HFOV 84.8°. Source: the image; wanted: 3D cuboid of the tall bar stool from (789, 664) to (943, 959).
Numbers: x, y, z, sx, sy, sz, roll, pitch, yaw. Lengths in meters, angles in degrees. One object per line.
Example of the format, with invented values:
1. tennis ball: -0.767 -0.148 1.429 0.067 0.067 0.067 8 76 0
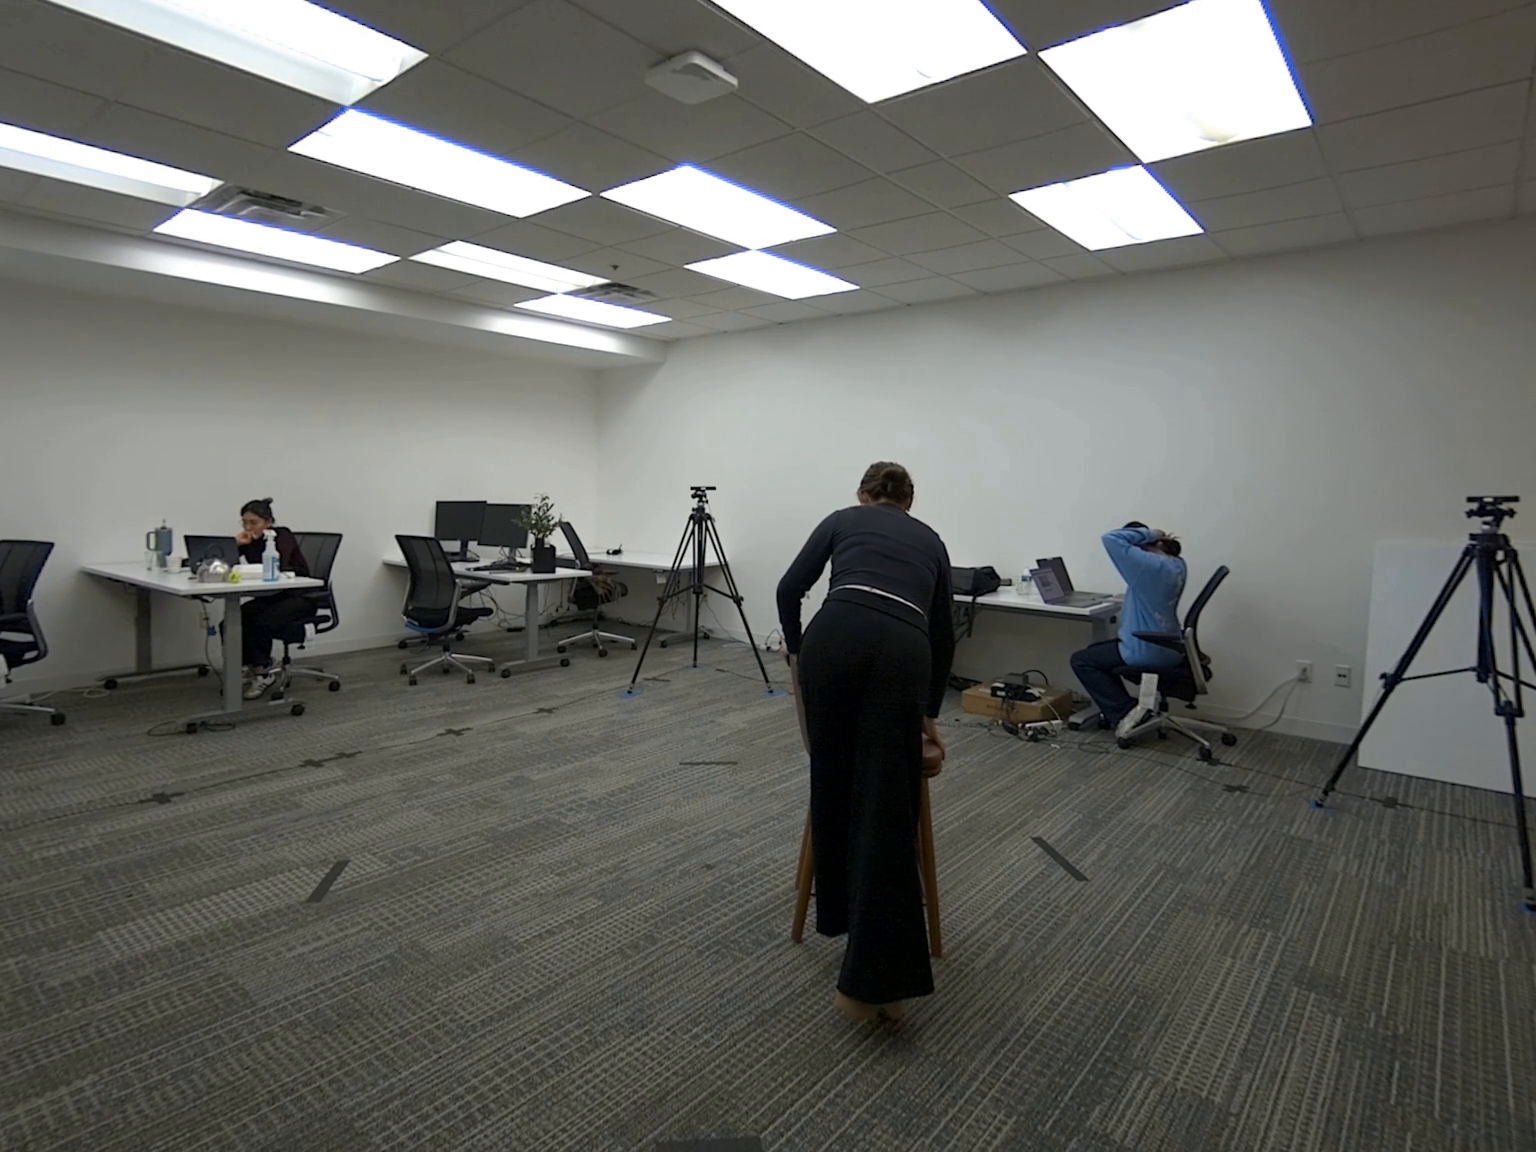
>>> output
1. tall bar stool: 0.308 0.673 2.748 0.471 0.887 0.455 0 3 6
